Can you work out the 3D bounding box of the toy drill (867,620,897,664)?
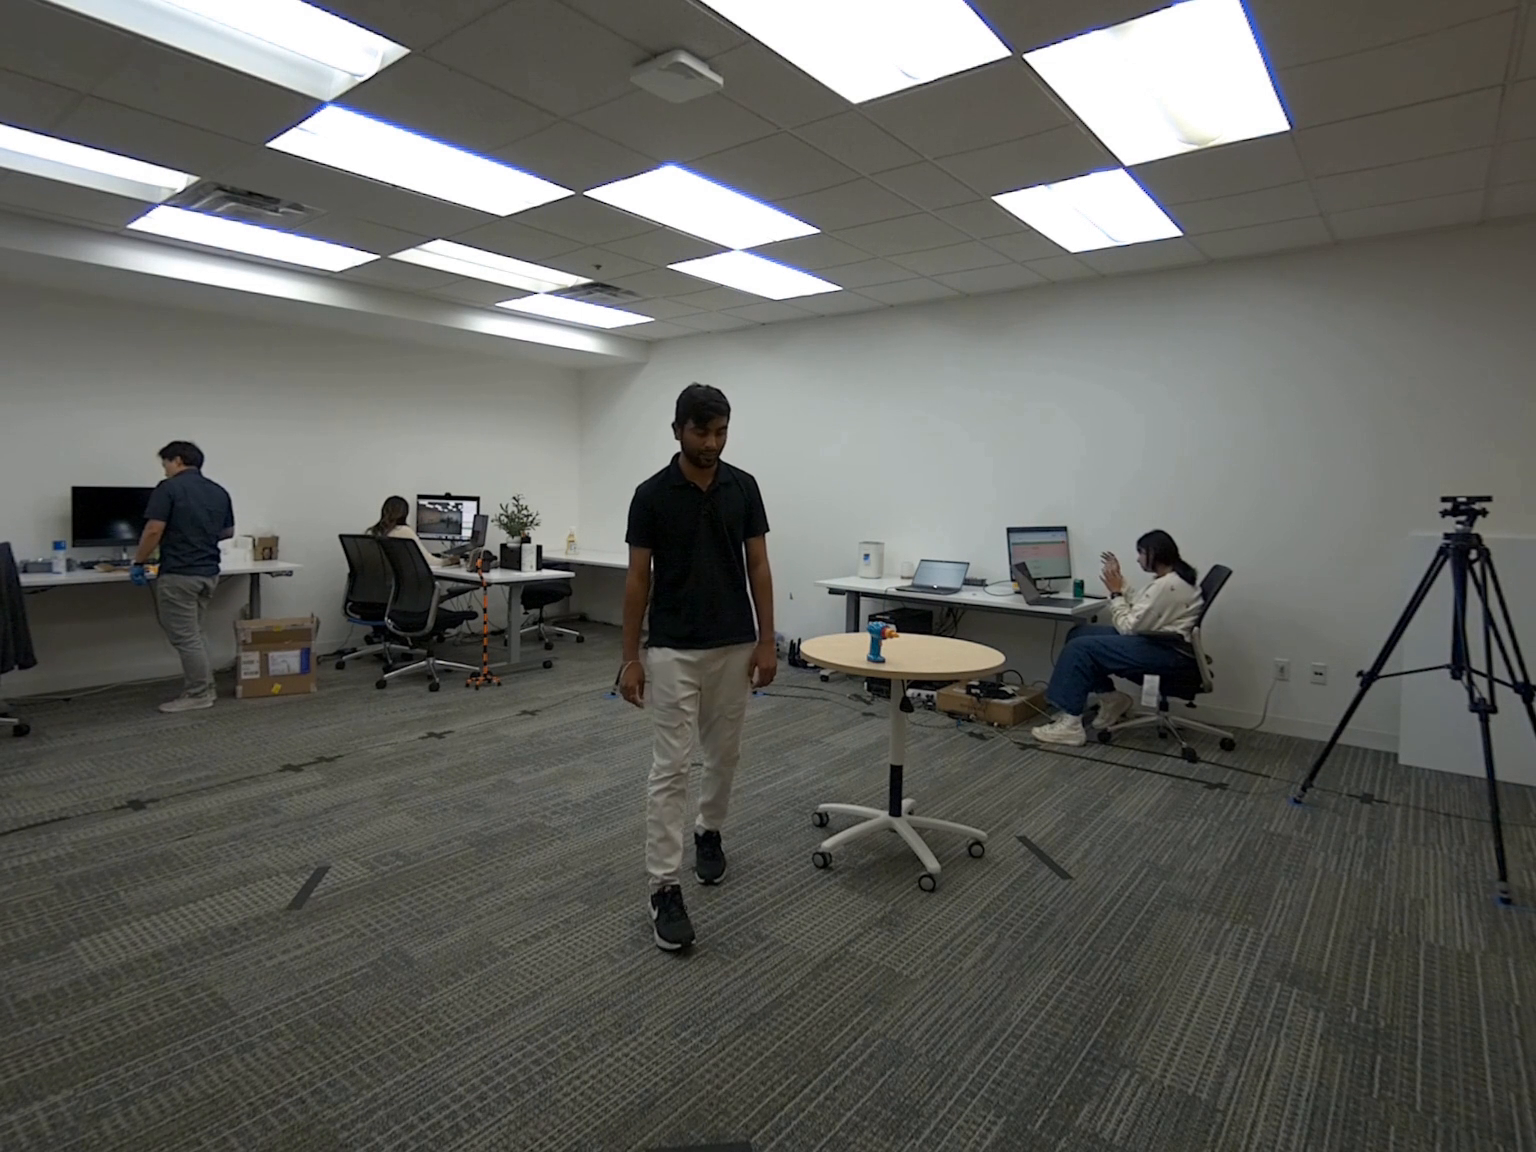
[{"bbox_3d":[0.403,0.237,3.004,0.059,0.146,0.175,2,3,-31],"label":"toy drill"}]
